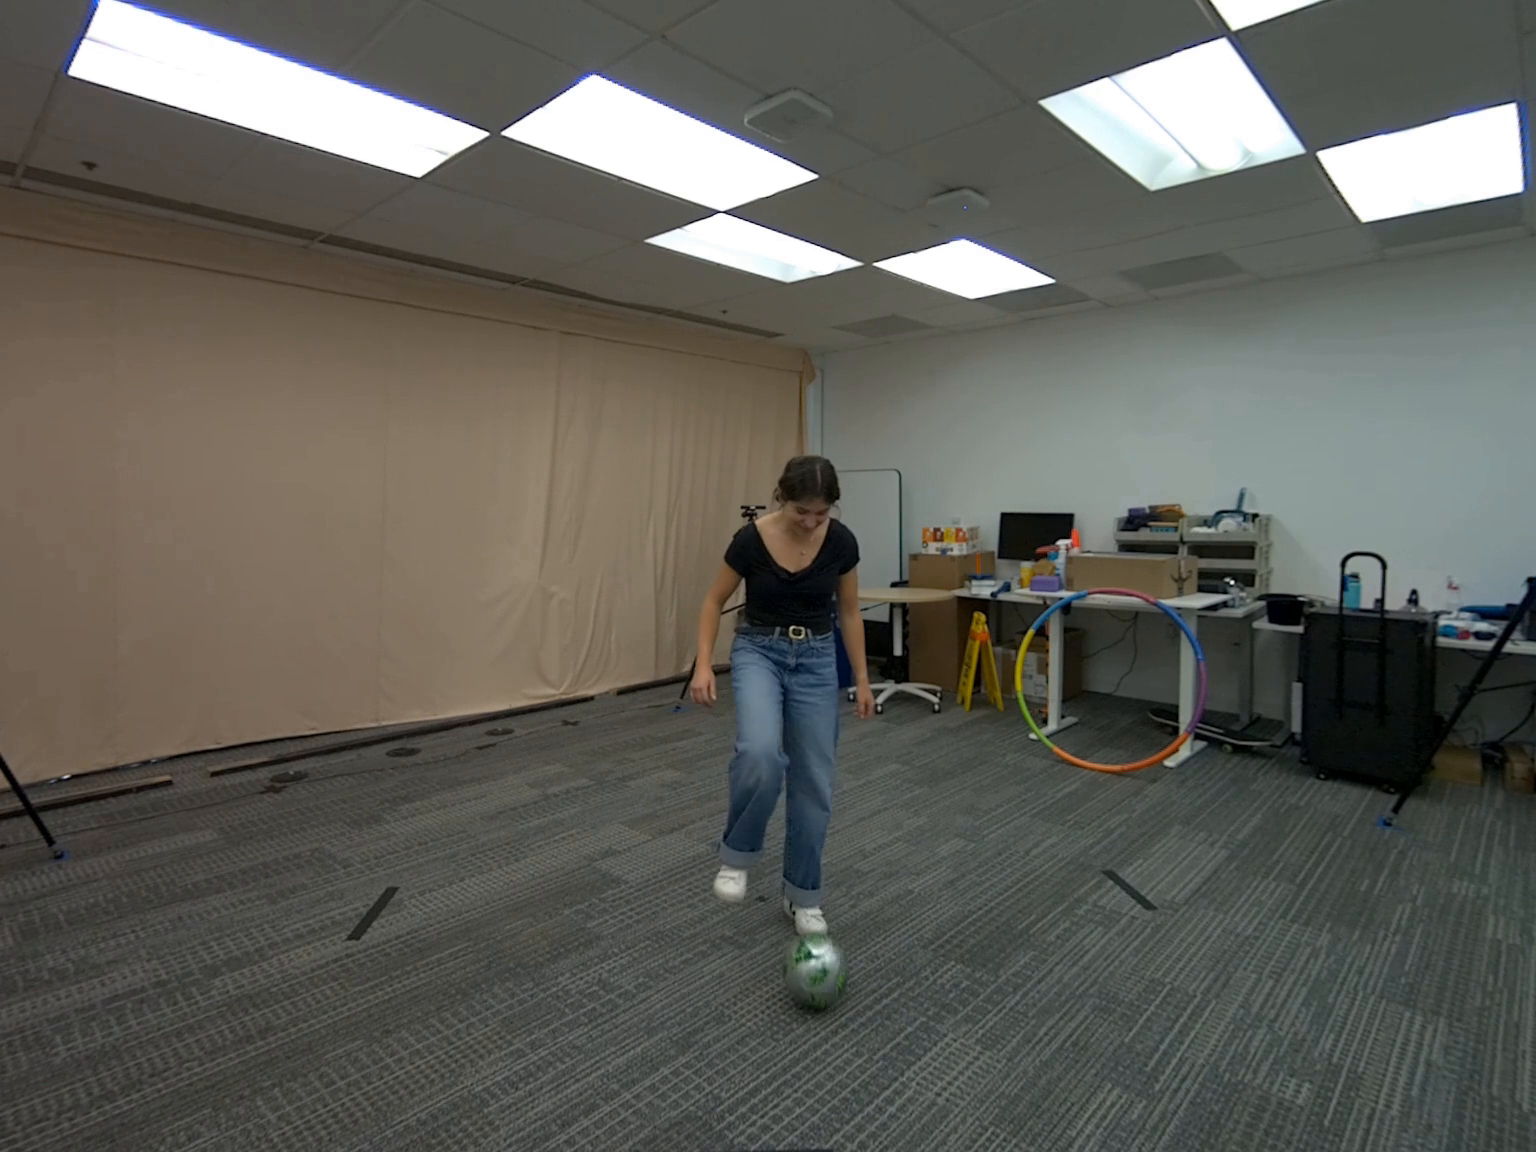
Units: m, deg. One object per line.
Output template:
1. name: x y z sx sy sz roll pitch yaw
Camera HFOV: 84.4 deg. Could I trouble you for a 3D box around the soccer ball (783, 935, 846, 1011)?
1. soccer ball: 0.129 1.056 2.346 0.187 0.187 0.188 0 4 -2
